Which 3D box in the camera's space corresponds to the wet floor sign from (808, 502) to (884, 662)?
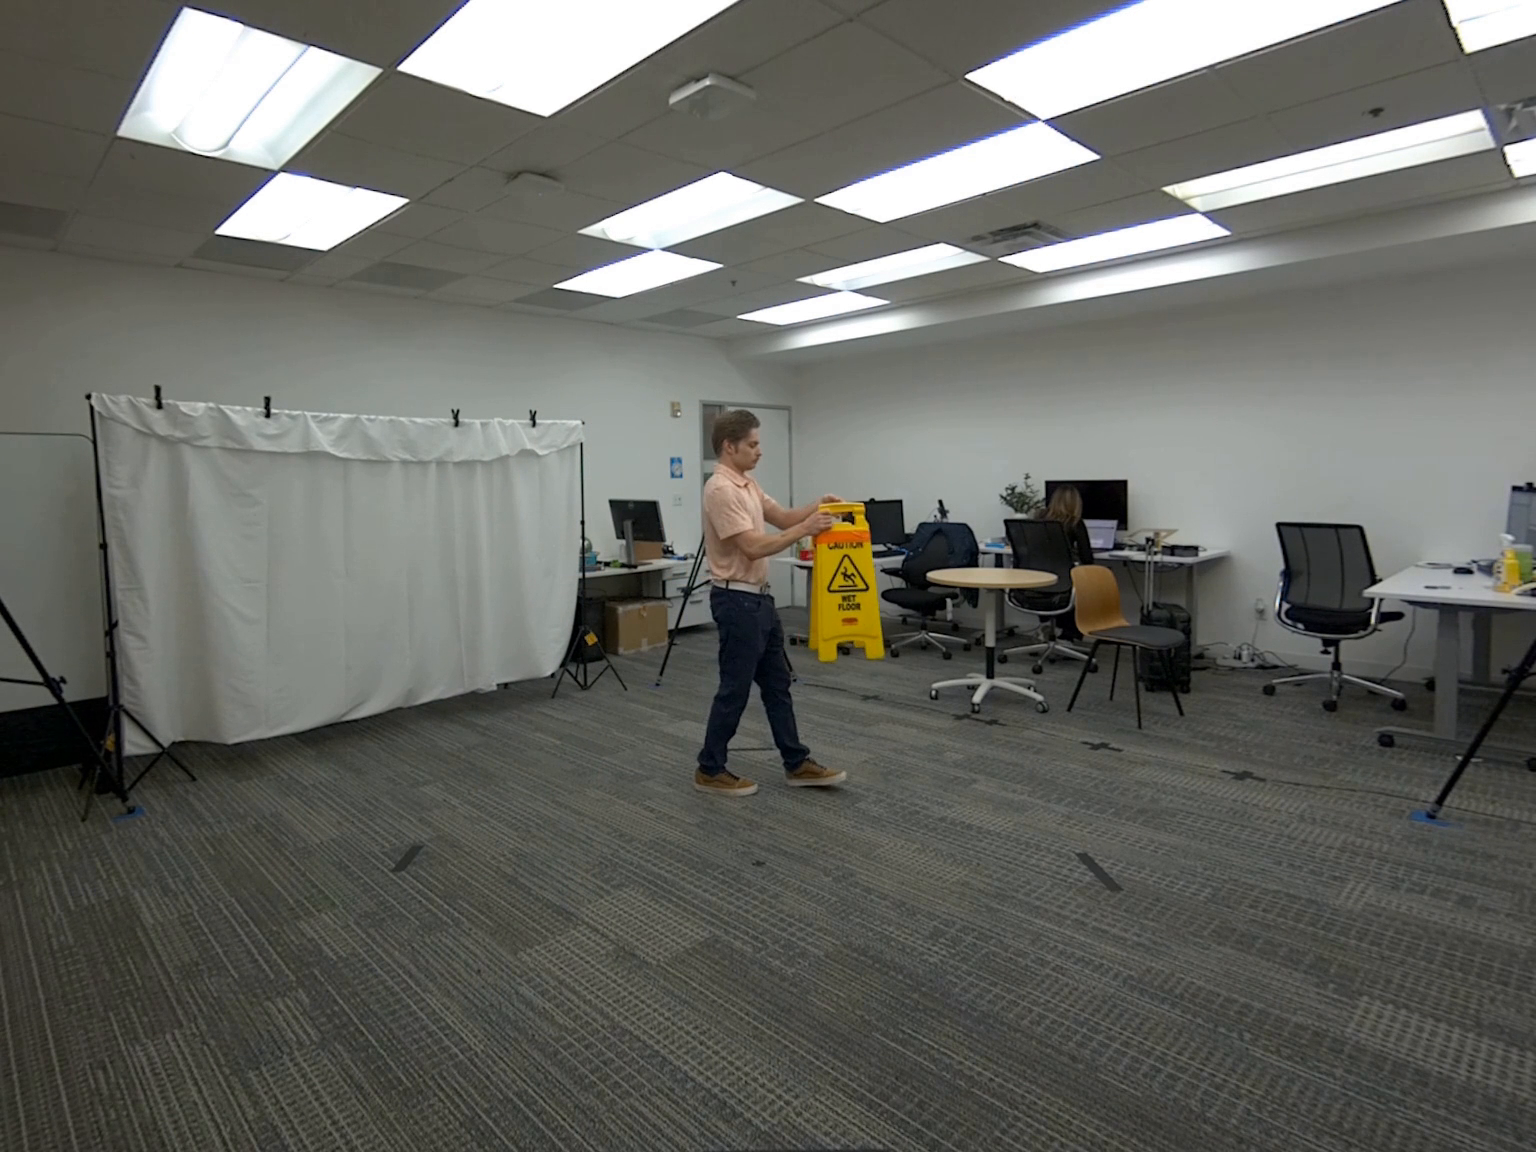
[{"bbox_3d":[0.325,0.014,3.673,0.281,0.642,0.292,-3,6,-5],"label":"wet floor sign"}]
